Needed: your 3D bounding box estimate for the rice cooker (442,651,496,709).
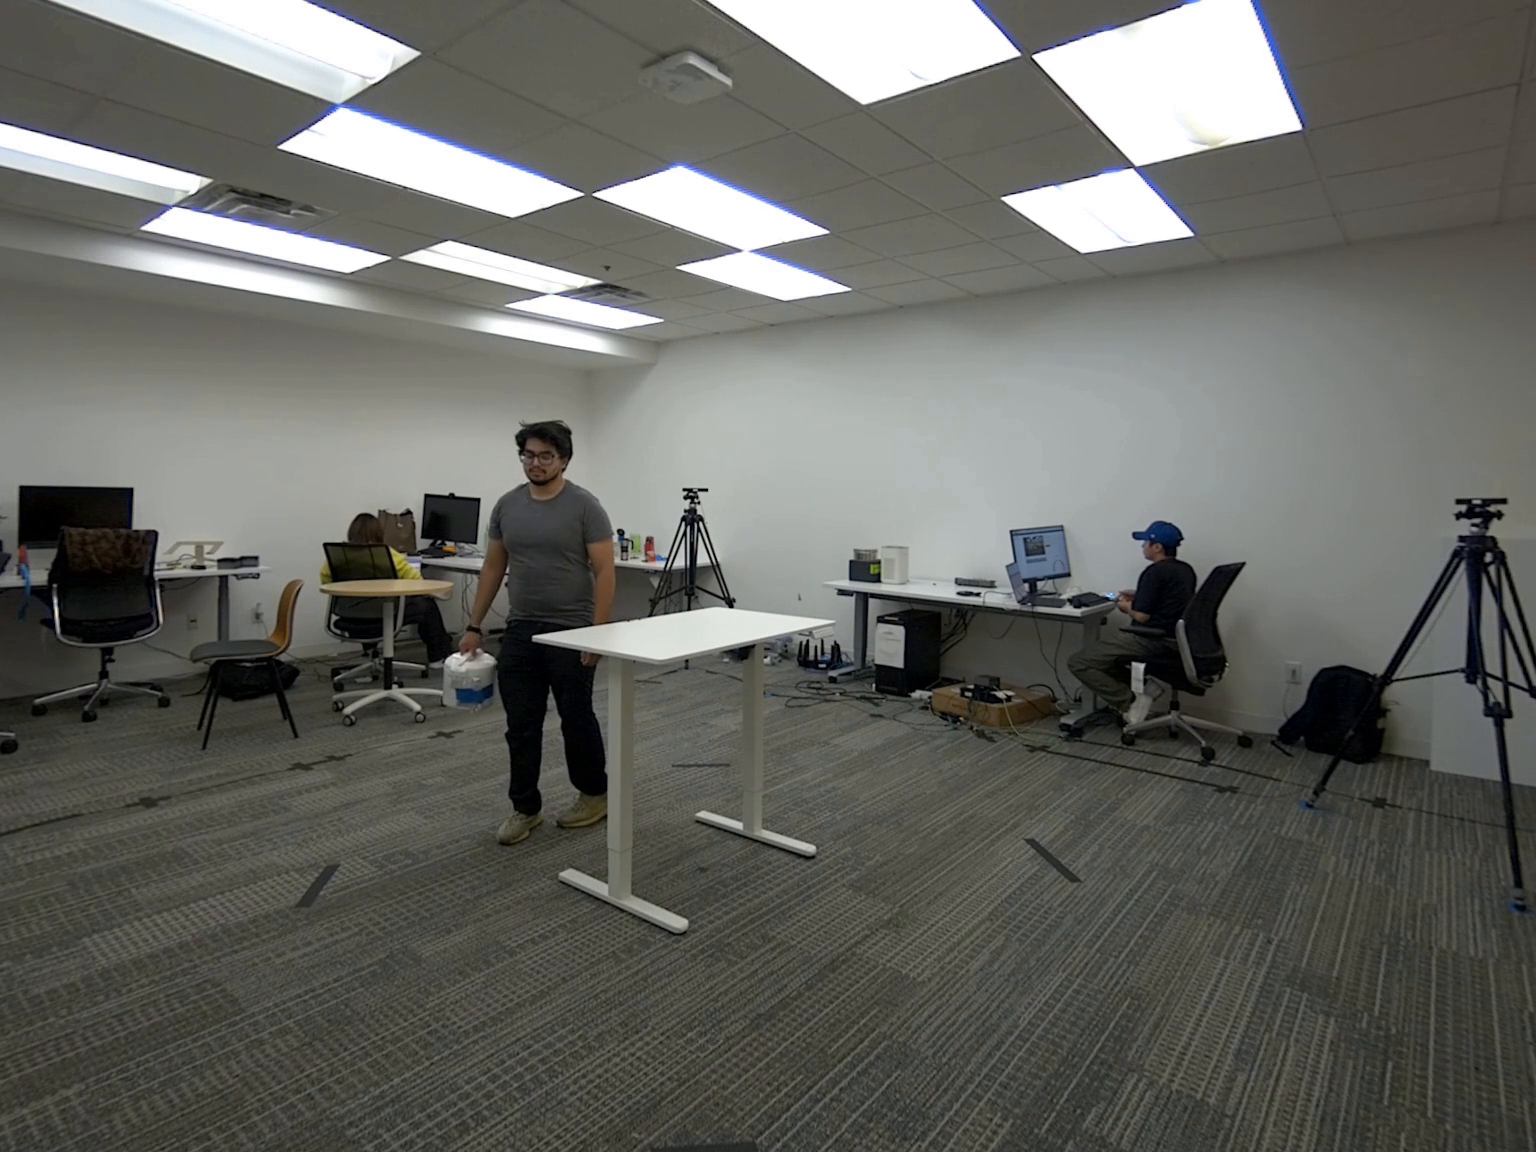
[{"bbox_3d":[-1.231,0.416,3.471,0.221,0.231,0.219,8,10,12],"label":"rice cooker"}]
